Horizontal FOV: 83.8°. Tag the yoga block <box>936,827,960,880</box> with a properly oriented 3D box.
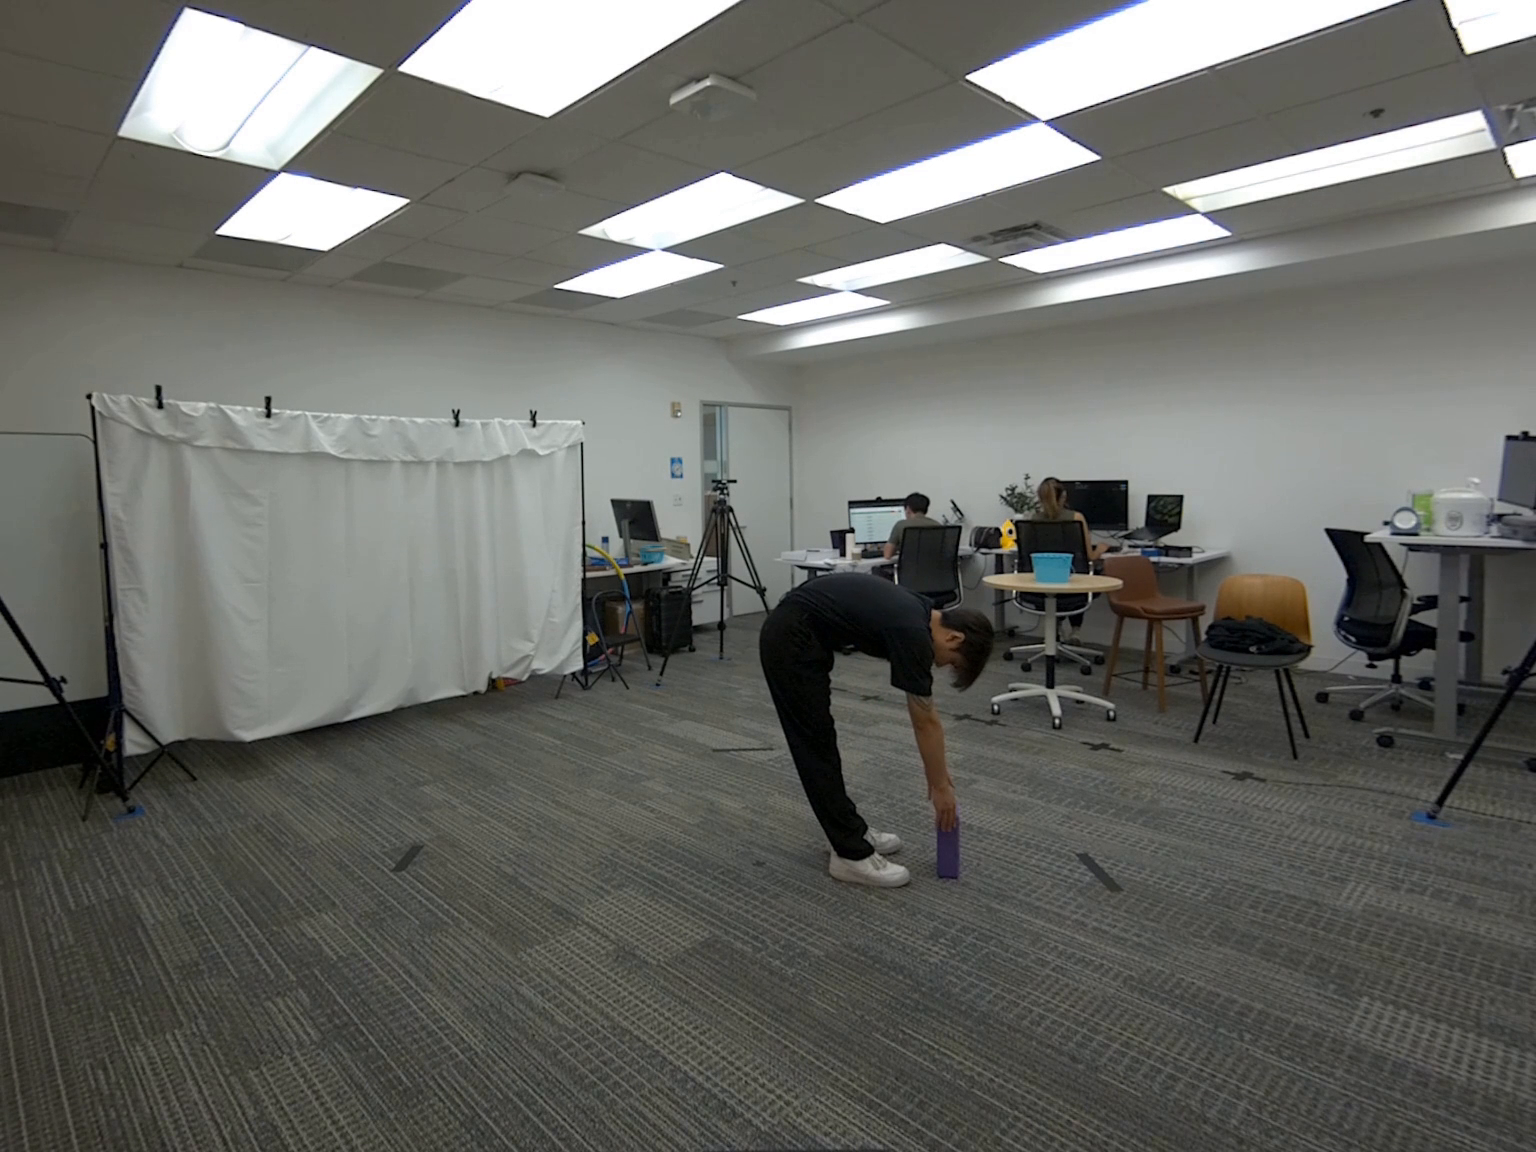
[{"bbox_3d":[0.630,0.923,3.022,0.077,0.228,0.148,1,7,9],"label":"yoga block"}]
